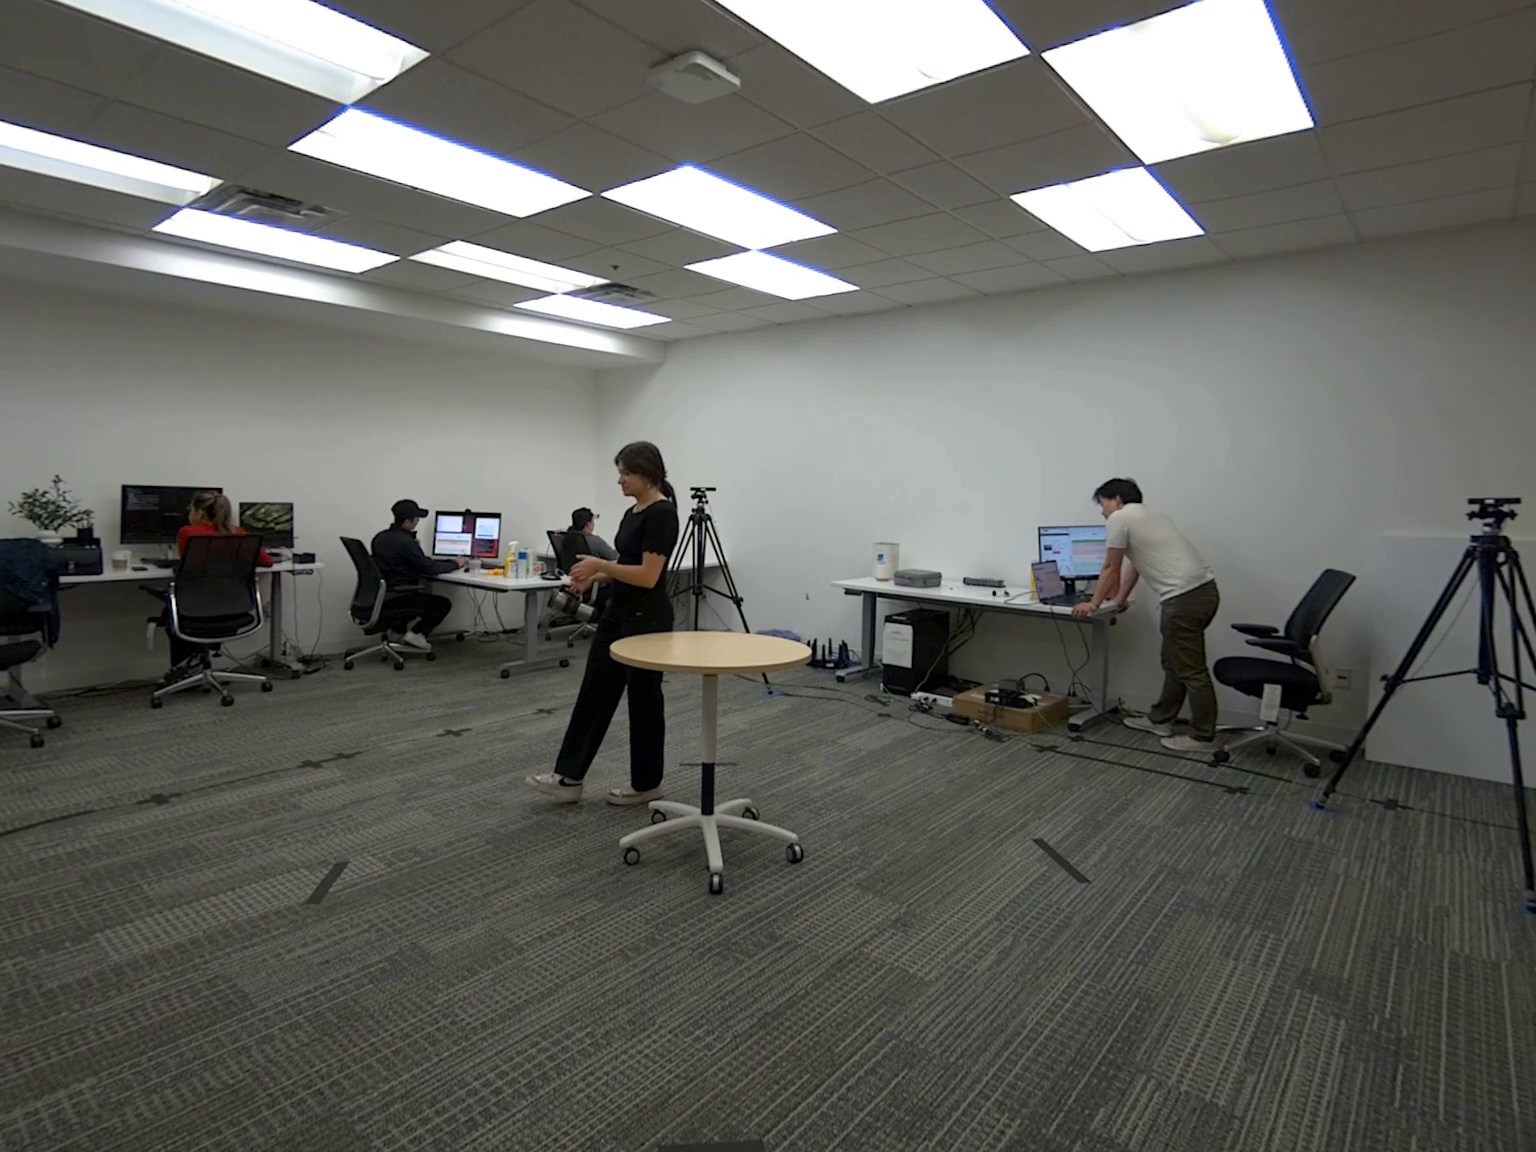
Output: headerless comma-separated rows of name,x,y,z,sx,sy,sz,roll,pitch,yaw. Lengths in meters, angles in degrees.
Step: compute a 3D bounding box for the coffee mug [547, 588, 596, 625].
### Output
coffee mug,-0.861,0.109,3.718,0.202,0.123,0.087,21,-17,-3
